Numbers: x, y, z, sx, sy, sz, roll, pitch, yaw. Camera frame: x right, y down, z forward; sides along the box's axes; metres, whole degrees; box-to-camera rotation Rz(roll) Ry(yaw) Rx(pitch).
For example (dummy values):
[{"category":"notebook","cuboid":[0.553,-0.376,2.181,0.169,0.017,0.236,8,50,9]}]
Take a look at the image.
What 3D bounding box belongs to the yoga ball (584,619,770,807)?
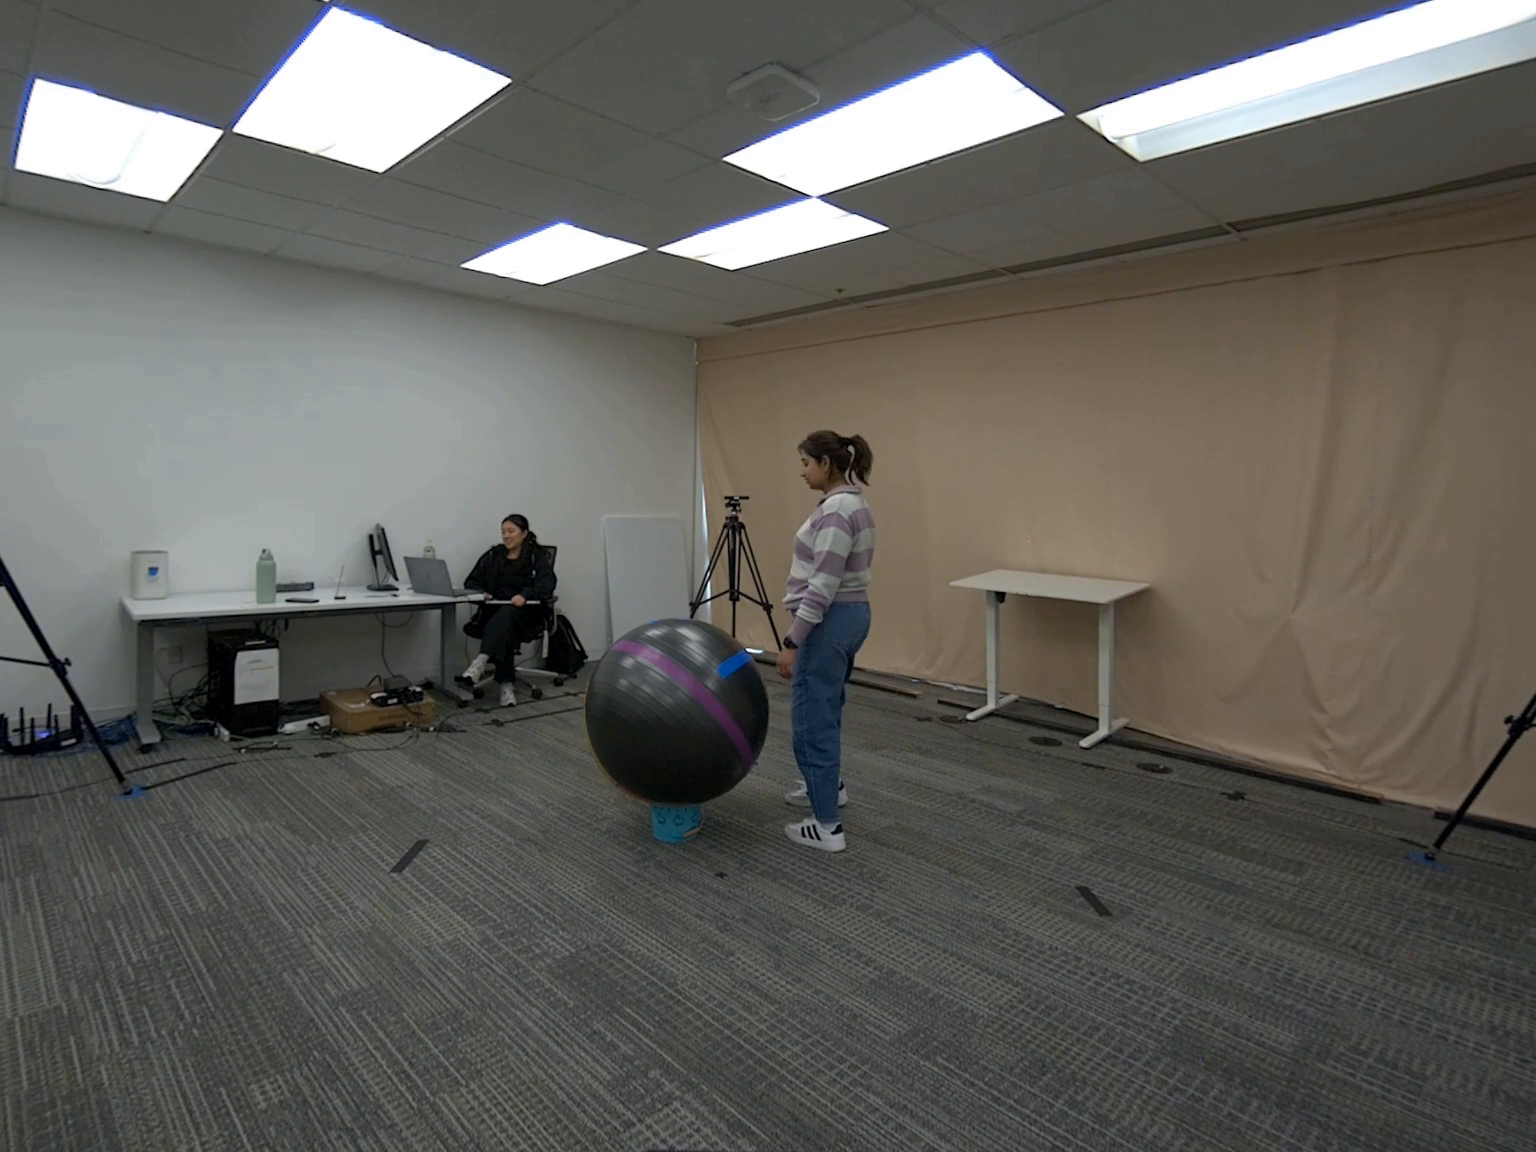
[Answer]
[{"category":"yoga ball","cuboid":[-0.379,0.559,3.472,0.757,0.756,0.761,1,4,-1]}]
